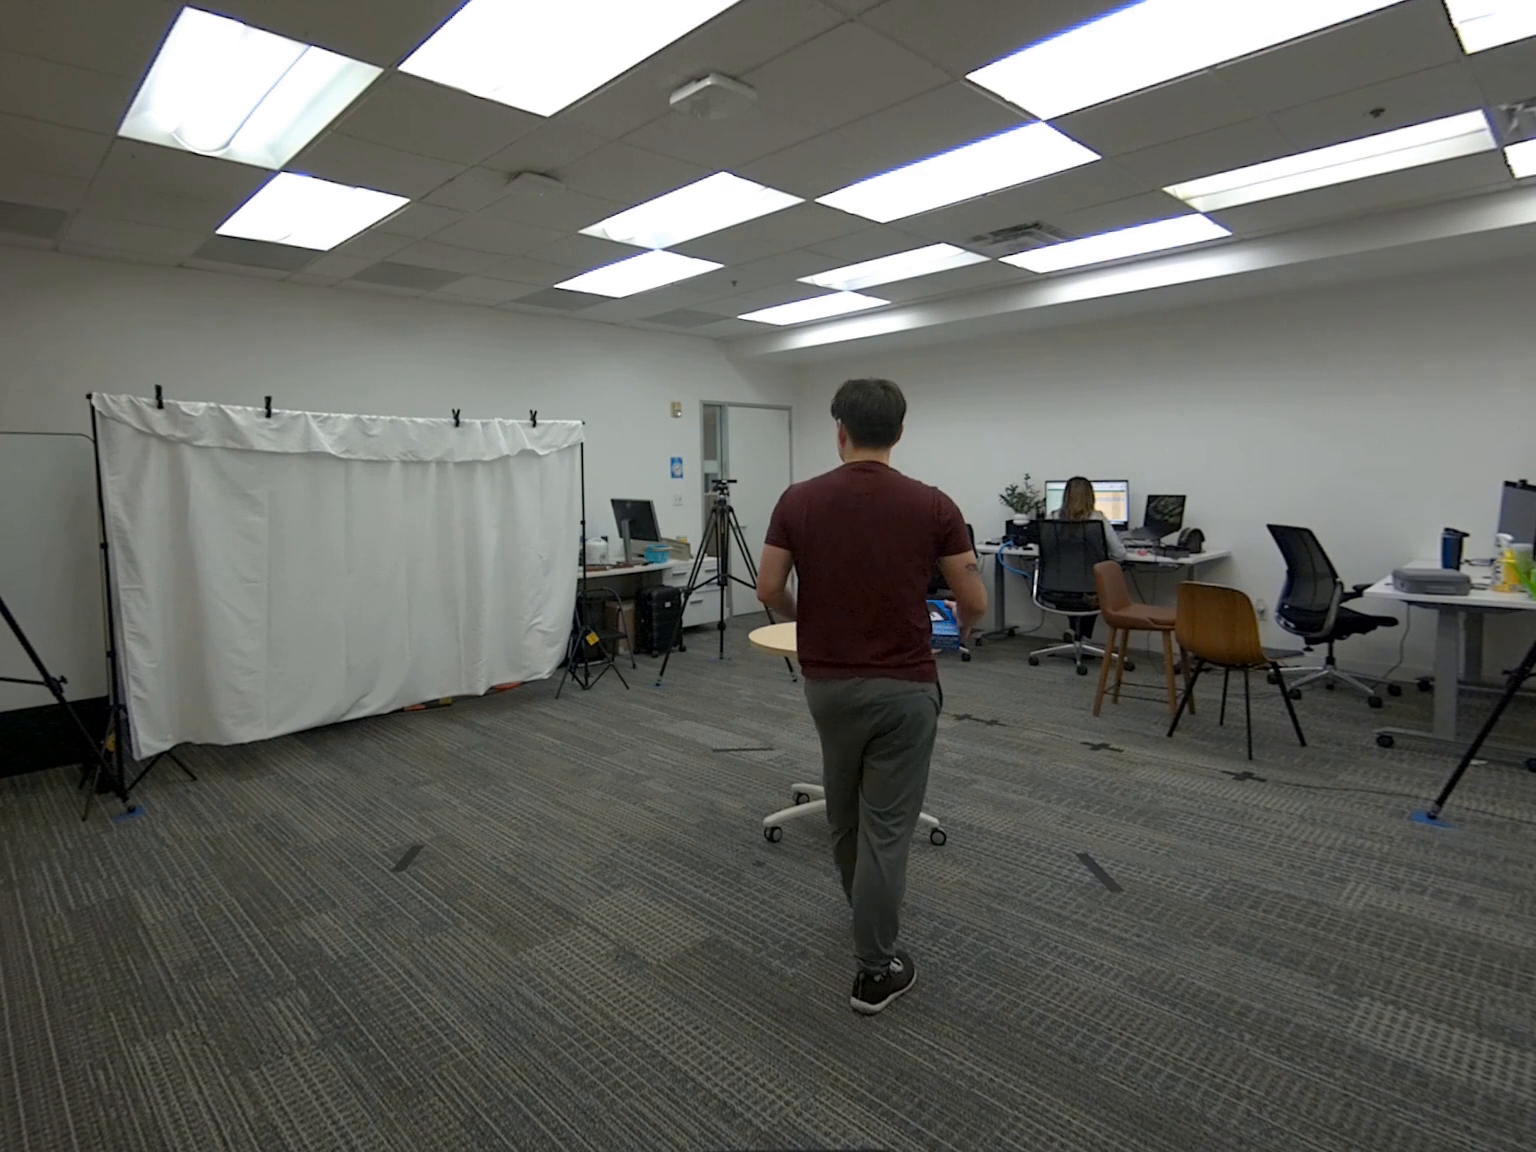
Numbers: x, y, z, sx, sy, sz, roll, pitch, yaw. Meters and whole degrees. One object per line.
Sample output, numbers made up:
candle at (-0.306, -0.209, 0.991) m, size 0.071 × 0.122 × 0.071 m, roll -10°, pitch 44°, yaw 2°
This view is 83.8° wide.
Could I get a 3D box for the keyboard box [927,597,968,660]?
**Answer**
keyboard box at (0.350, 0.137, 2.604) m, size 0.442 × 0.057 × 0.178 m, roll 3°, pitch 32°, yaw 11°
